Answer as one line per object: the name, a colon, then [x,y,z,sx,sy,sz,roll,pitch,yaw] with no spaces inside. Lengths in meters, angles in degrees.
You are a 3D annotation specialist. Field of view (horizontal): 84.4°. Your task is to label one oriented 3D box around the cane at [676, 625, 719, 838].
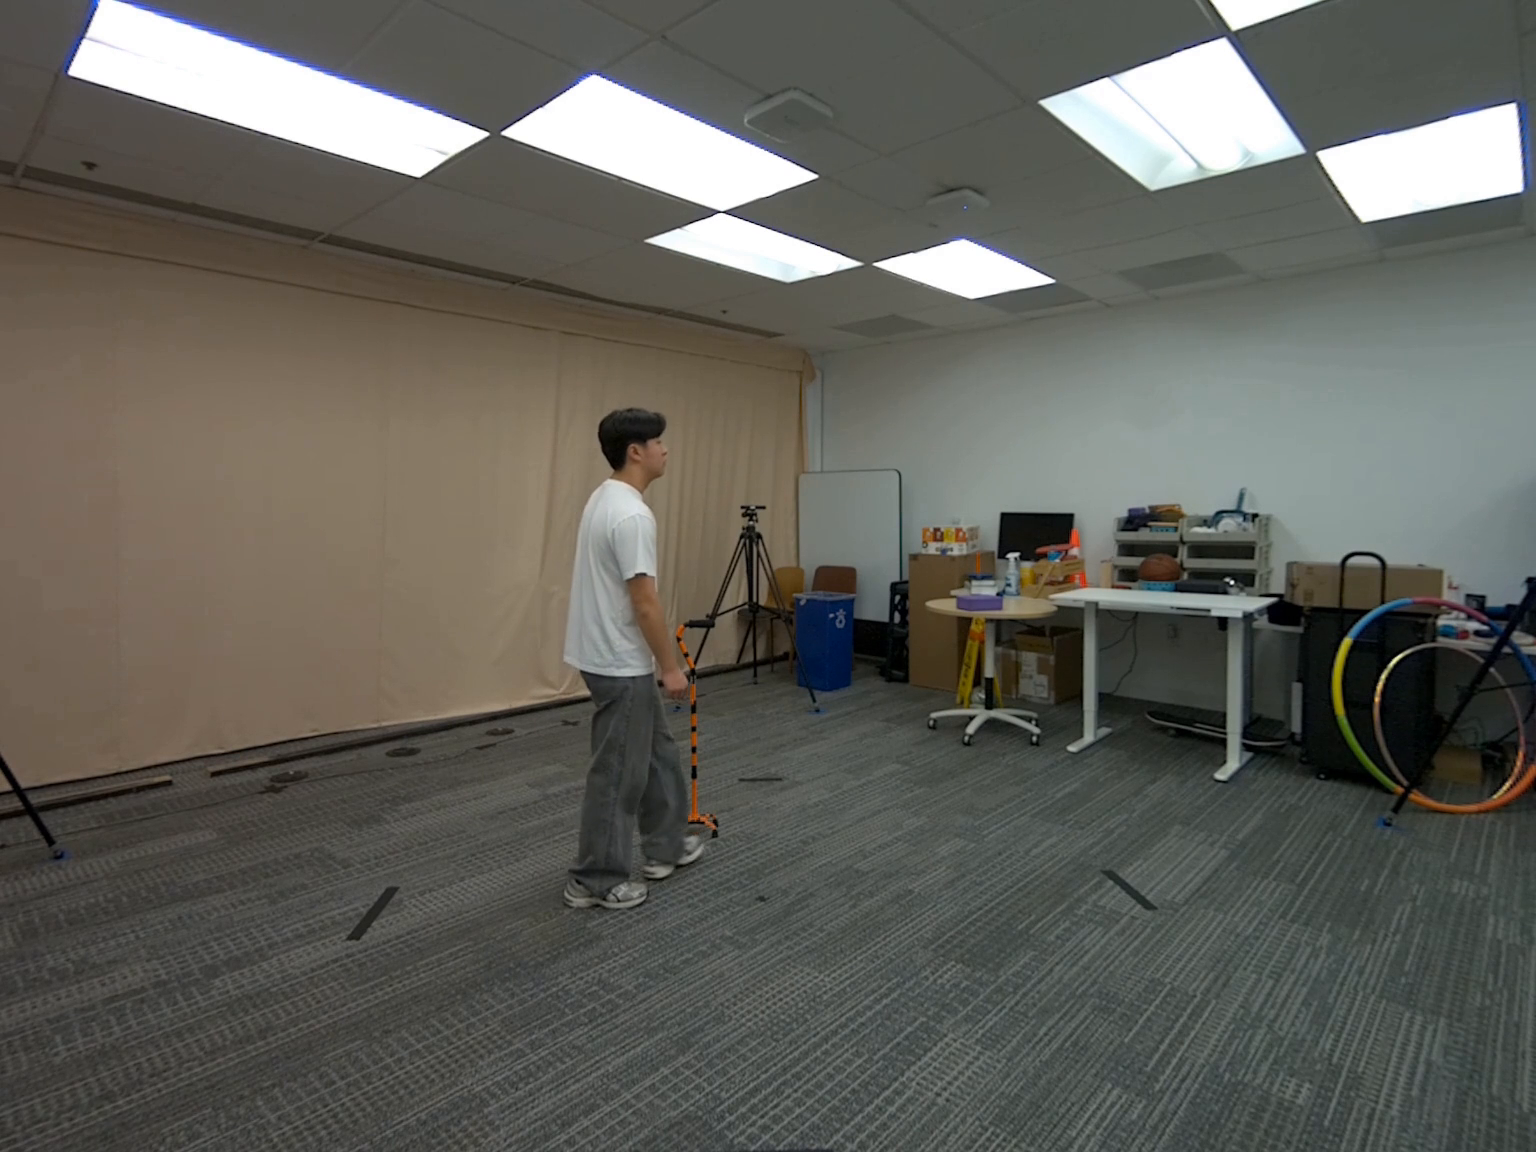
cane: [-0.313,0.643,3.581,0.206,0.906,0.152,0,3,-1]
